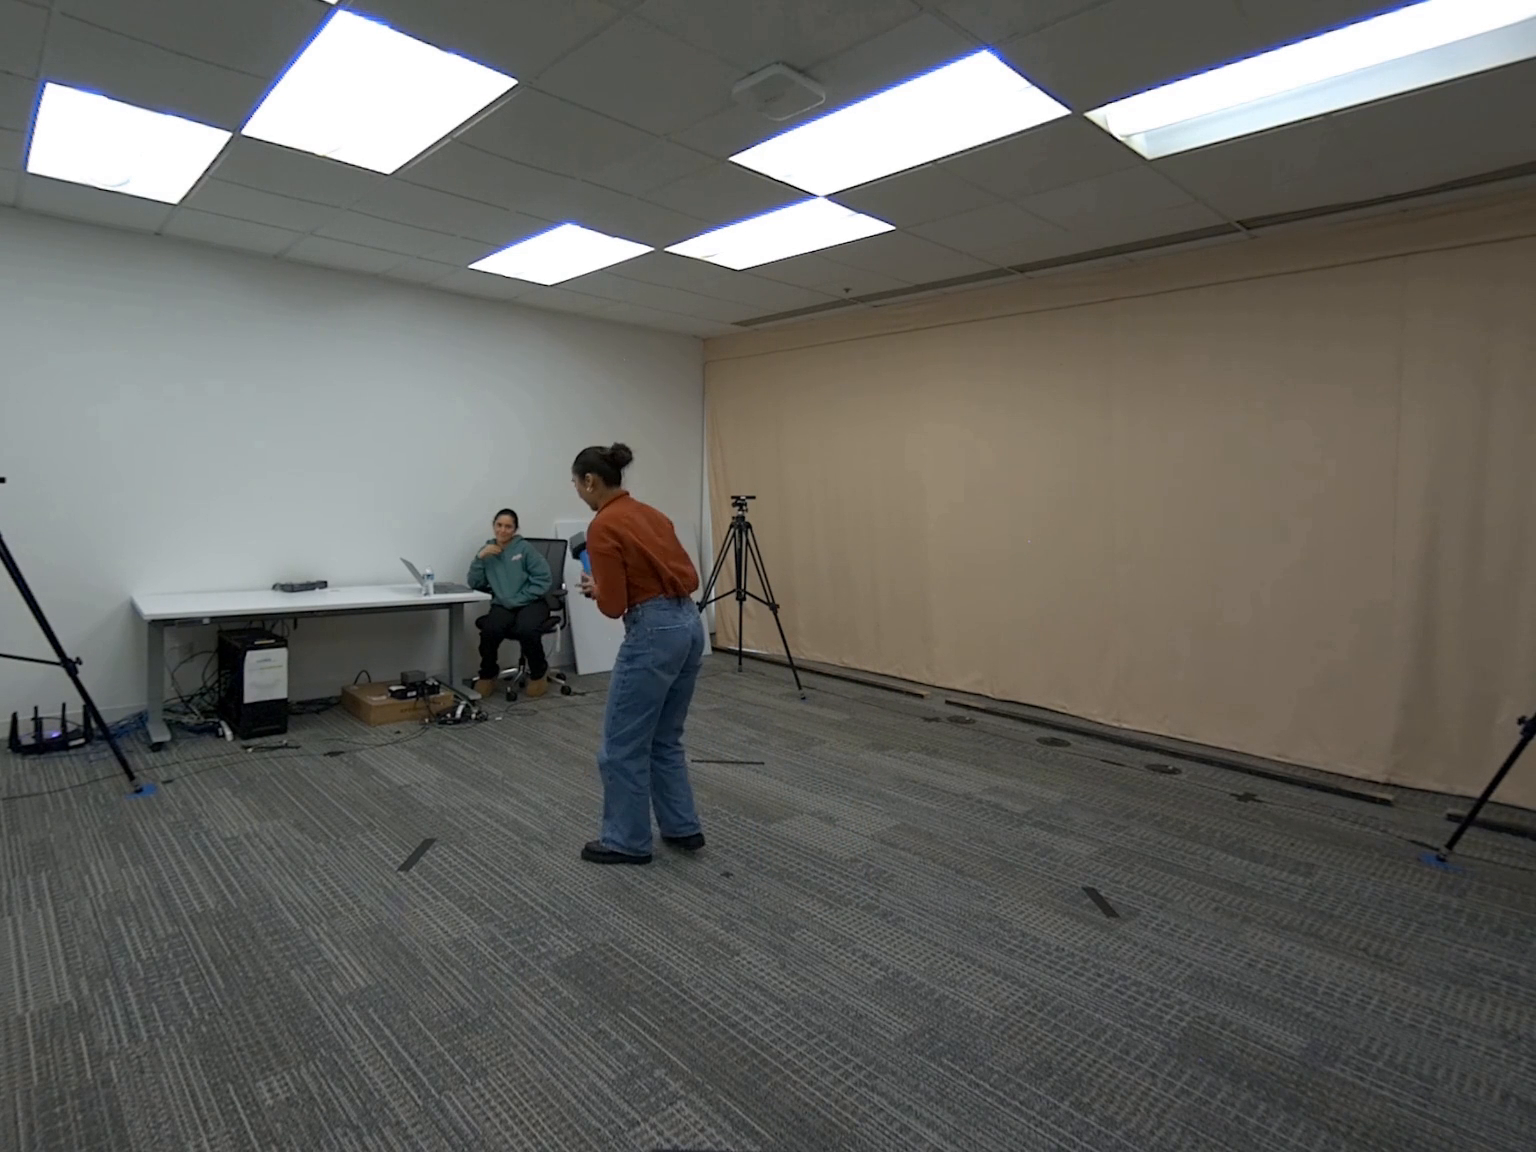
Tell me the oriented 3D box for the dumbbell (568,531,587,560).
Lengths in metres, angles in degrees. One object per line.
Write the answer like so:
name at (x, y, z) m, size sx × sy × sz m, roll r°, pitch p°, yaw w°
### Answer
dumbbell at (-0.702, -0.030, 3.354) m, size 0.123 × 0.302 × 0.105 m, roll -30°, pitch -39°, yaw 6°
